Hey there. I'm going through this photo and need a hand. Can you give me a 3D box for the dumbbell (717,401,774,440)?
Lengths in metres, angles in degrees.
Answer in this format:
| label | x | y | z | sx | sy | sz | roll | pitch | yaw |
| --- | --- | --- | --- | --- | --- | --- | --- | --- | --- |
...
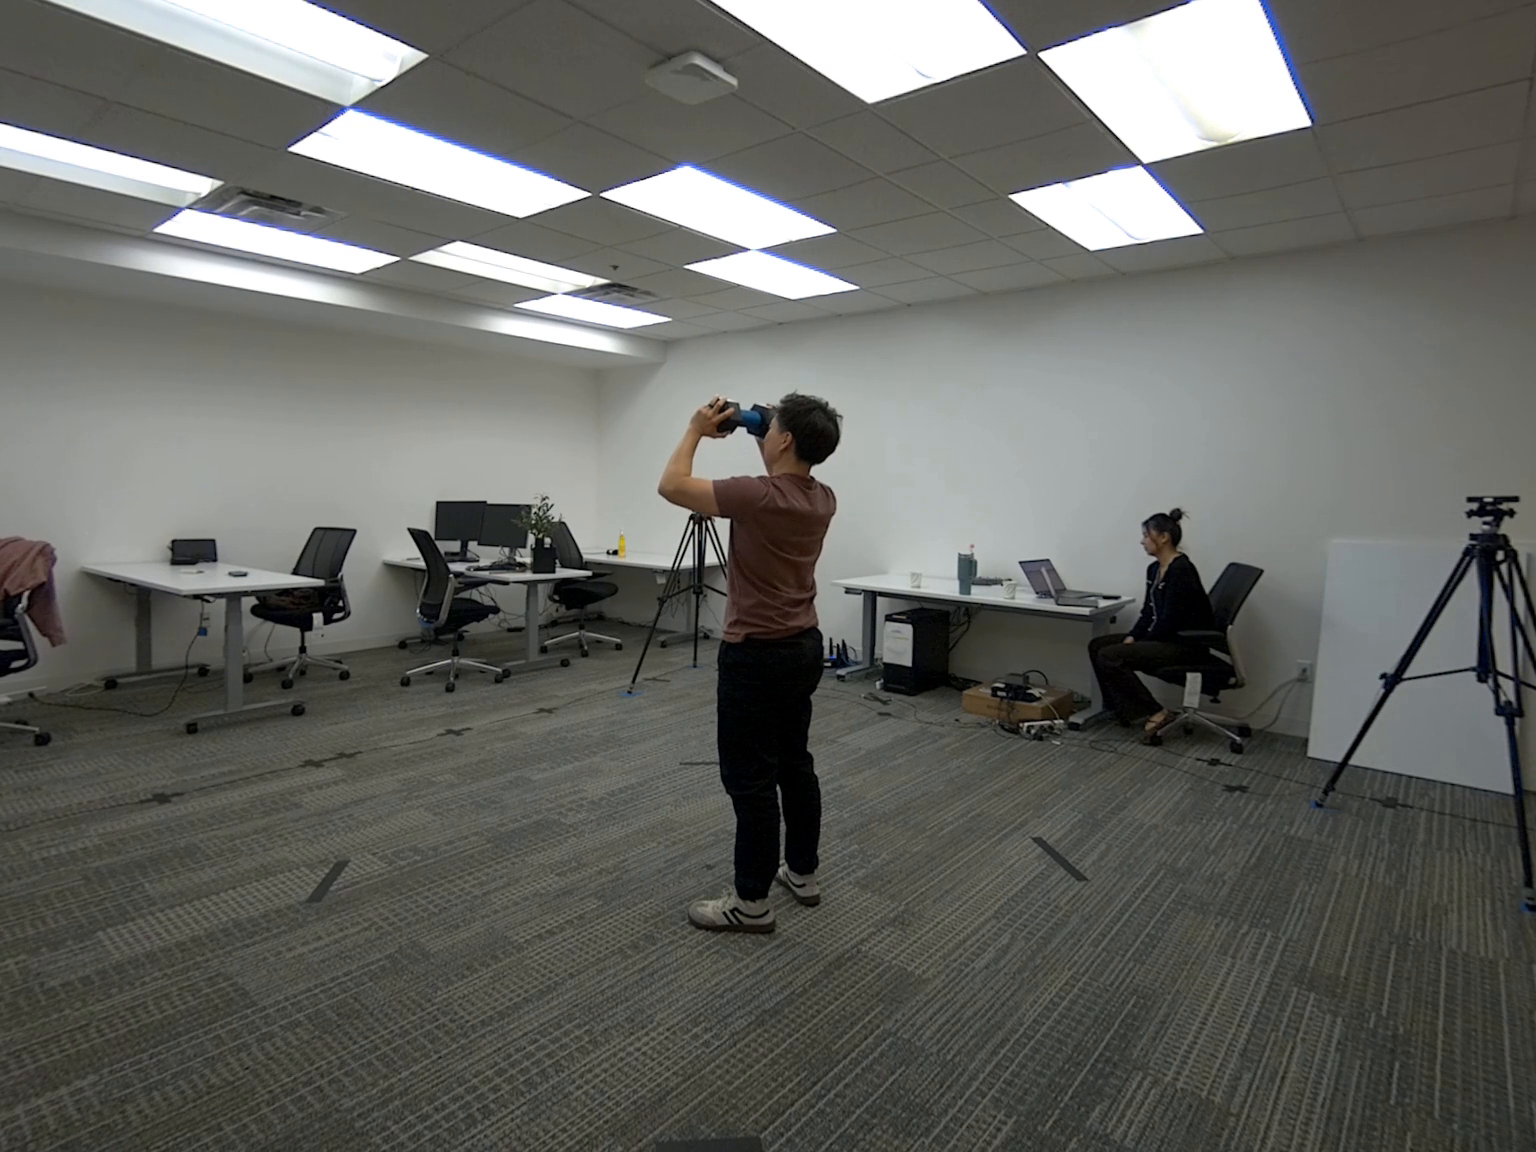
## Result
| label | x | y | z | sx | sy | sz | roll | pitch | yaw |
| --- | --- | --- | --- | --- | --- | --- | --- | --- | --- |
| dumbbell | -0.095 | -0.535 | 2.858 | 0.285 | 0.112 | 0.123 | -4 | -37 | -51 |
